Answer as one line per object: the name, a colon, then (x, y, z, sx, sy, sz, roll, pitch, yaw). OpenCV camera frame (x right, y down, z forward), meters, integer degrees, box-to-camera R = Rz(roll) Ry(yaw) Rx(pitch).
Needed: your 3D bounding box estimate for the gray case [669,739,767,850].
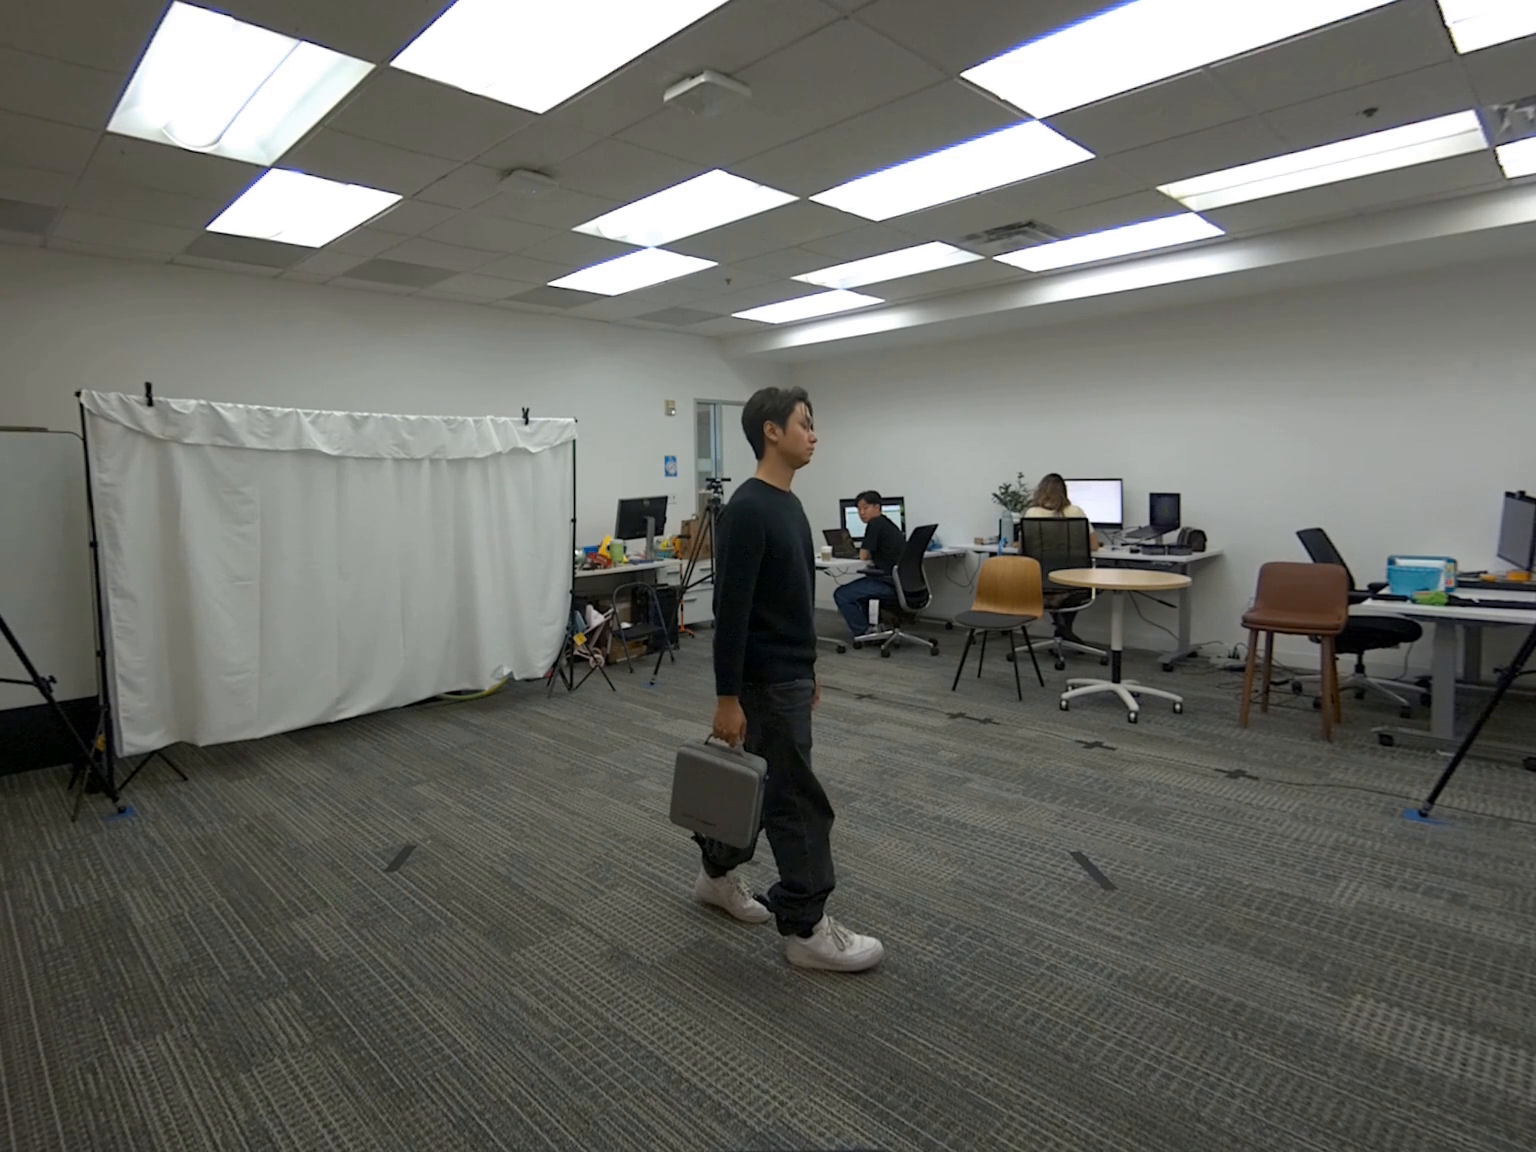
gray case: (-0.131, 0.599, 2.412, 0.261, 0.258, 0.103, 13, 16, 16)
